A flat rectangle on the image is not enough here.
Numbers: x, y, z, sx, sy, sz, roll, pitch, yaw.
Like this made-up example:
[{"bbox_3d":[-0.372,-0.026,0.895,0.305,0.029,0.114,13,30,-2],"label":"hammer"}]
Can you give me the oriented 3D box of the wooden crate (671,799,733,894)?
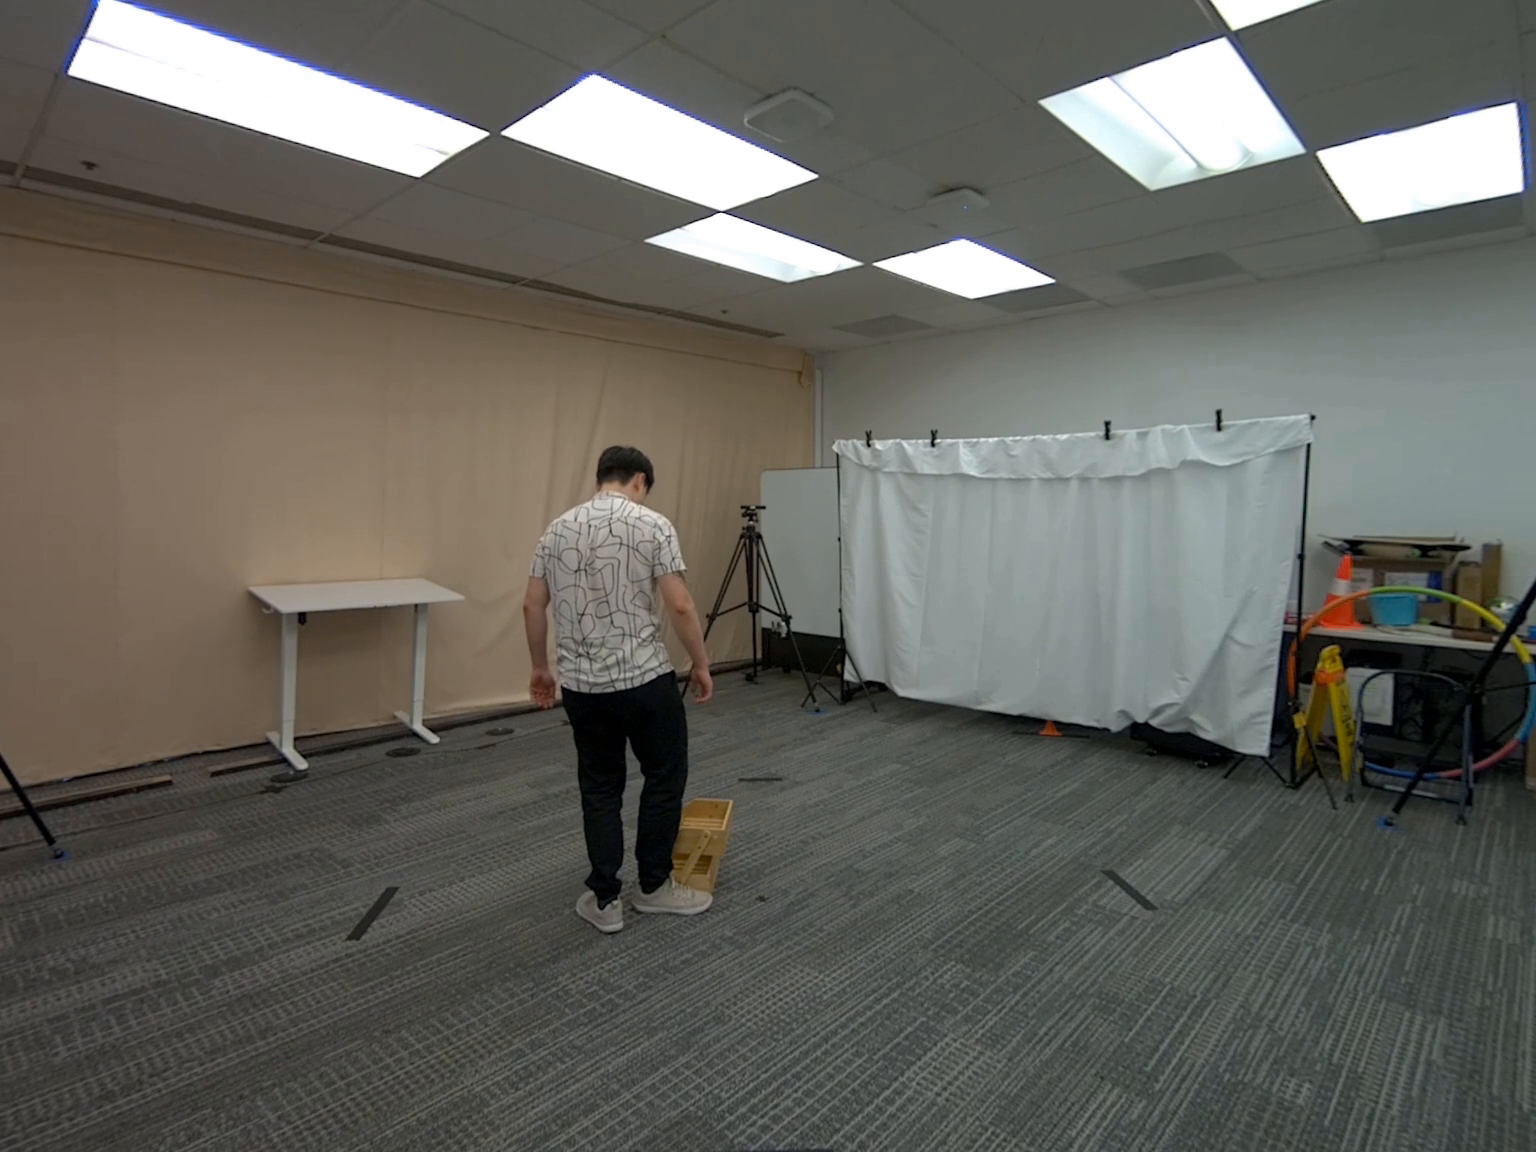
[{"bbox_3d":[-0.301,1.005,3.113,0.304,0.272,0.323,1,5,5],"label":"wooden crate"}]
